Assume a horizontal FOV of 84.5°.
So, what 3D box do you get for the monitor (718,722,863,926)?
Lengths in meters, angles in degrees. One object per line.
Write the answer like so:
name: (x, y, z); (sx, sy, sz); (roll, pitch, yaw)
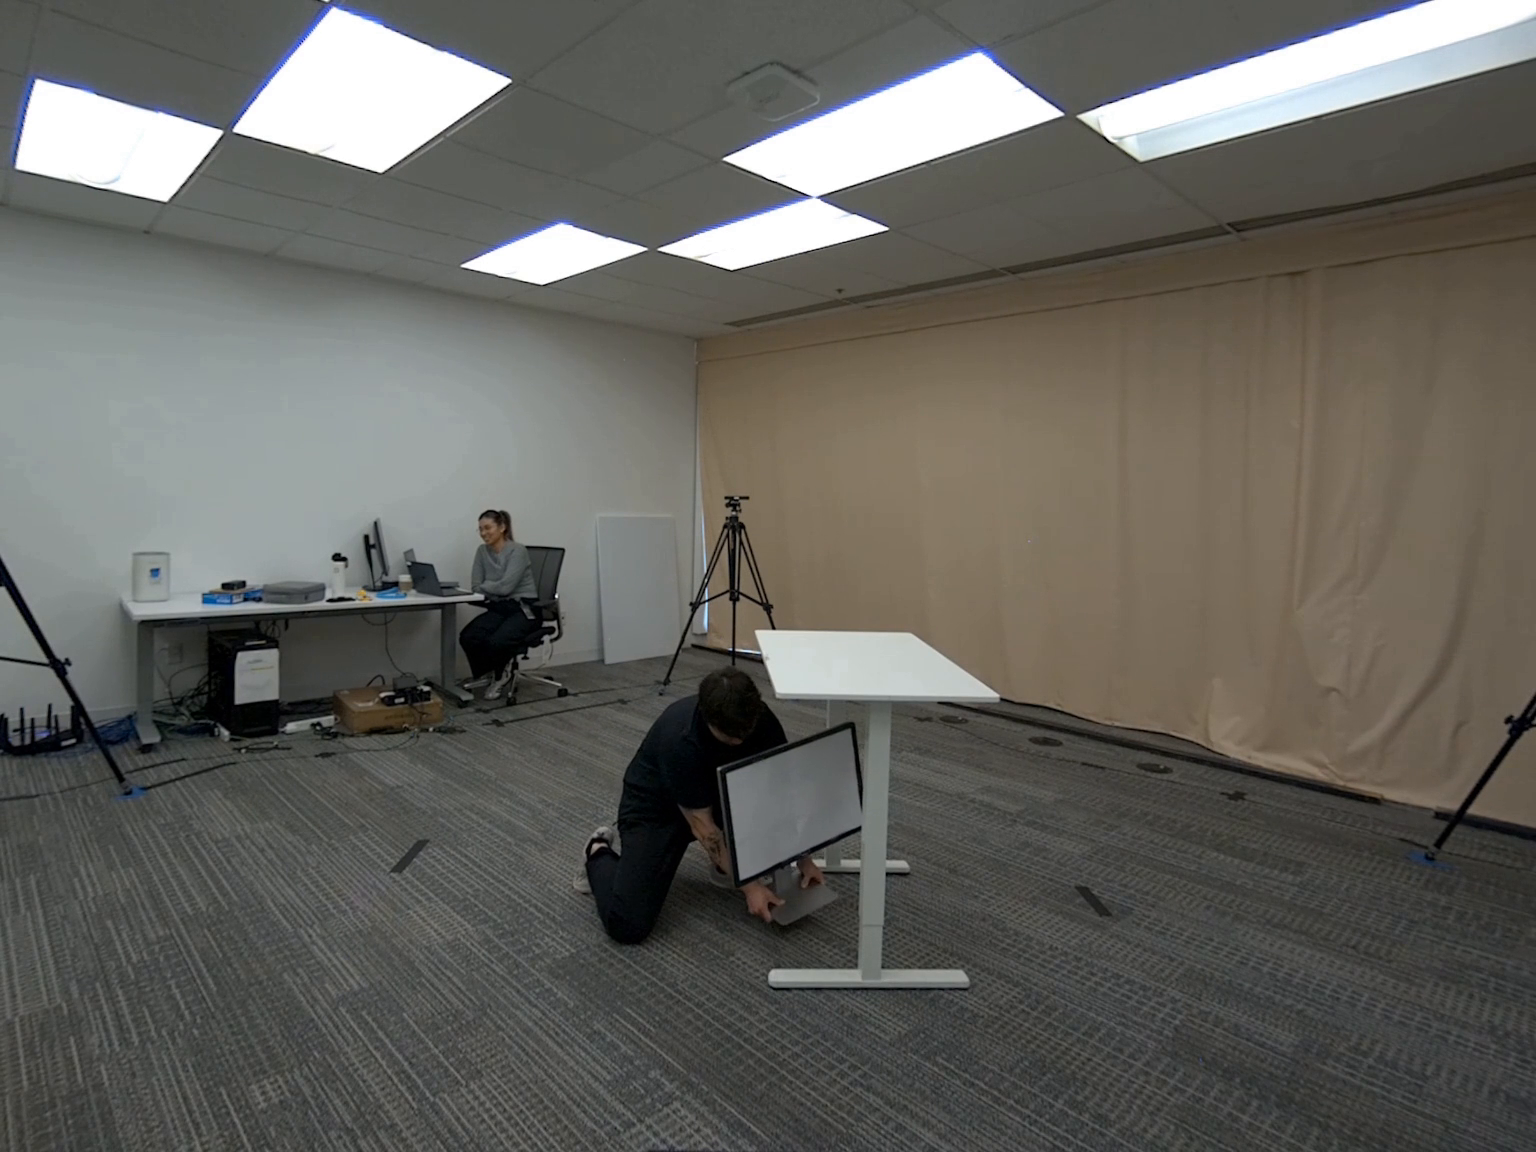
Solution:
monitor: (0.067, 0.795, 2.686); (0.529, 0.518, 0.192); (-11, 16, -37)
